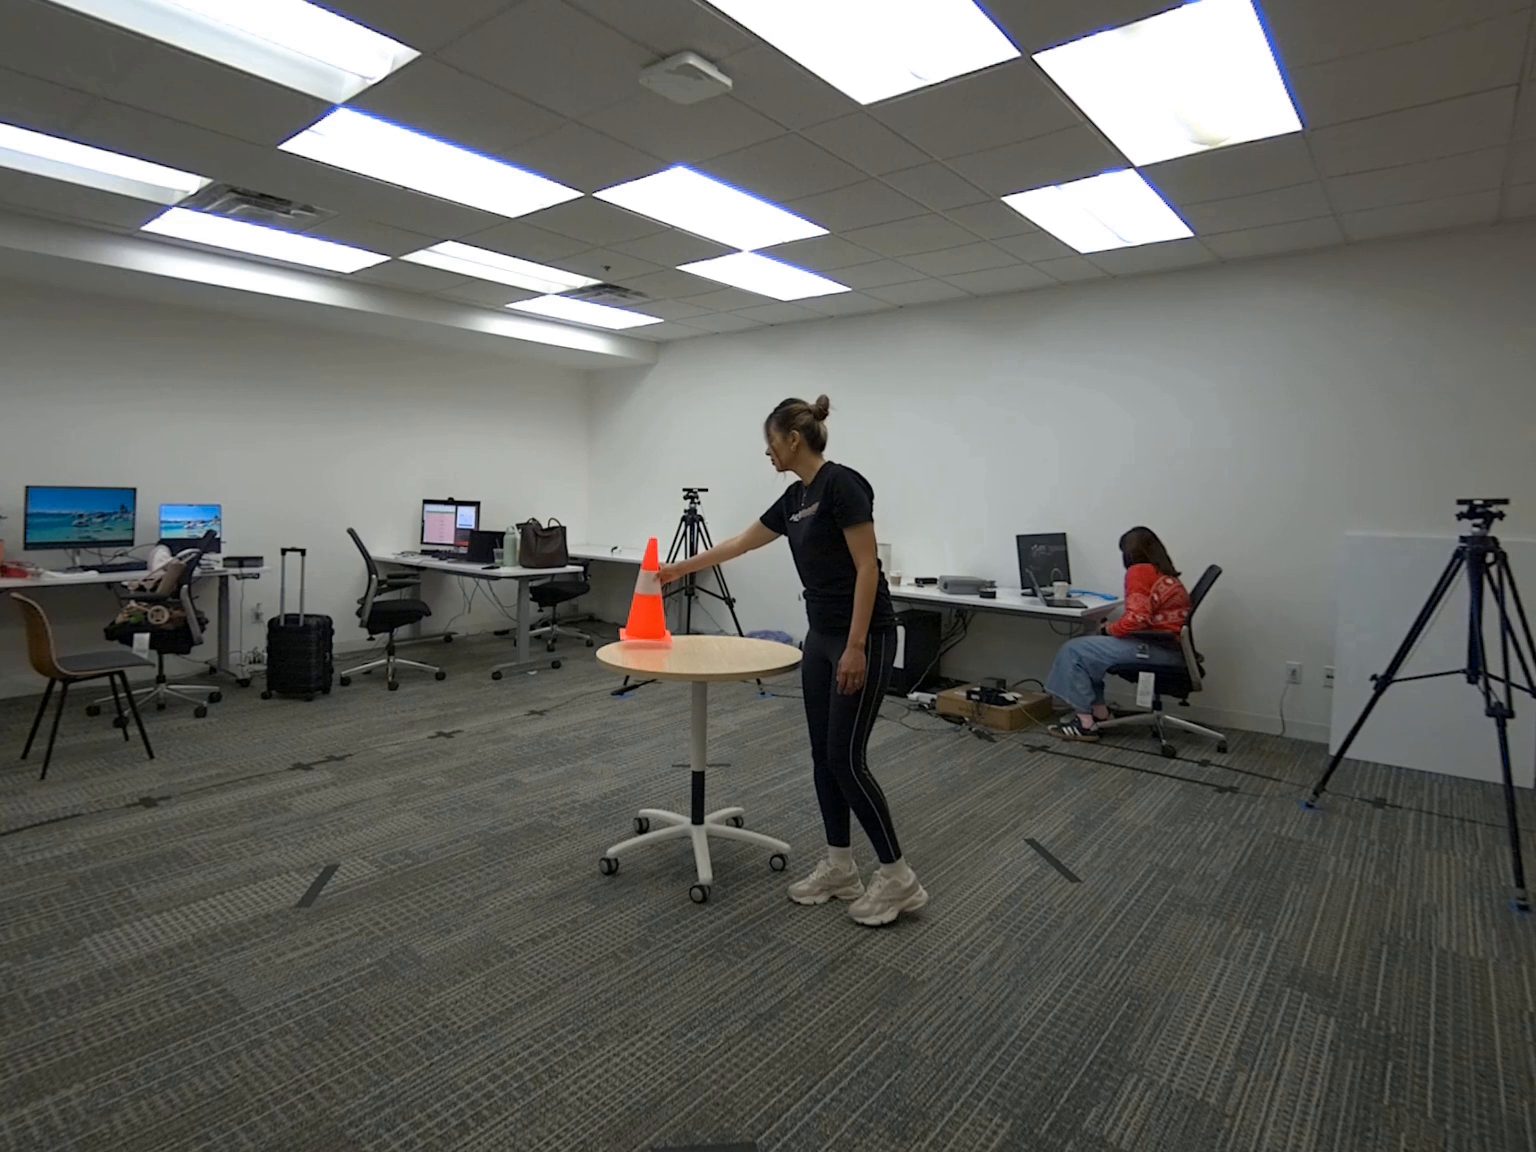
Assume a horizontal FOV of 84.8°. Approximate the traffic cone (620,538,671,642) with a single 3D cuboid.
[{"bbox_3d":[-0.467,0.039,3.278,0.202,0.382,0.207,5,6,-14],"label":"traffic cone"}]
